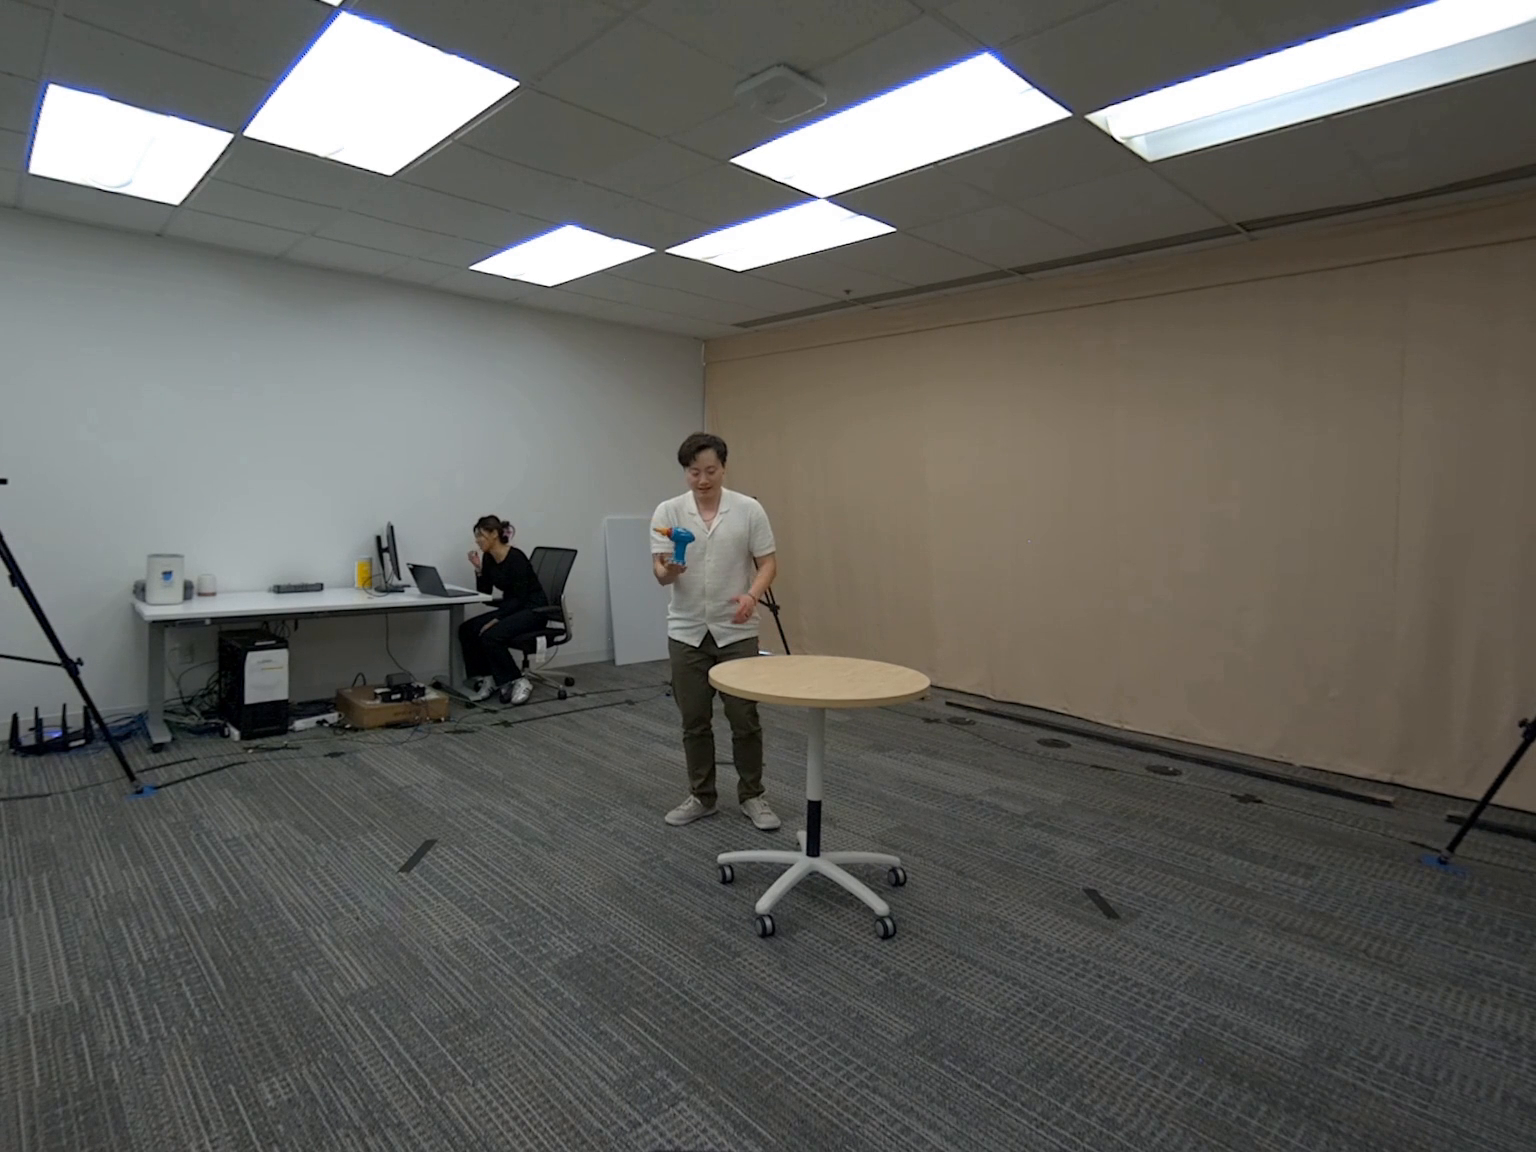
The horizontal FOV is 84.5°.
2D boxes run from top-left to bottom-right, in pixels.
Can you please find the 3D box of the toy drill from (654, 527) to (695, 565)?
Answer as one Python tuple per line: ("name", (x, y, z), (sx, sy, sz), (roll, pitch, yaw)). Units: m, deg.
("toy drill", (-0.365, -0.118, 3.231), (0.168, 0.145, 0.062), (12, 6, -9))
